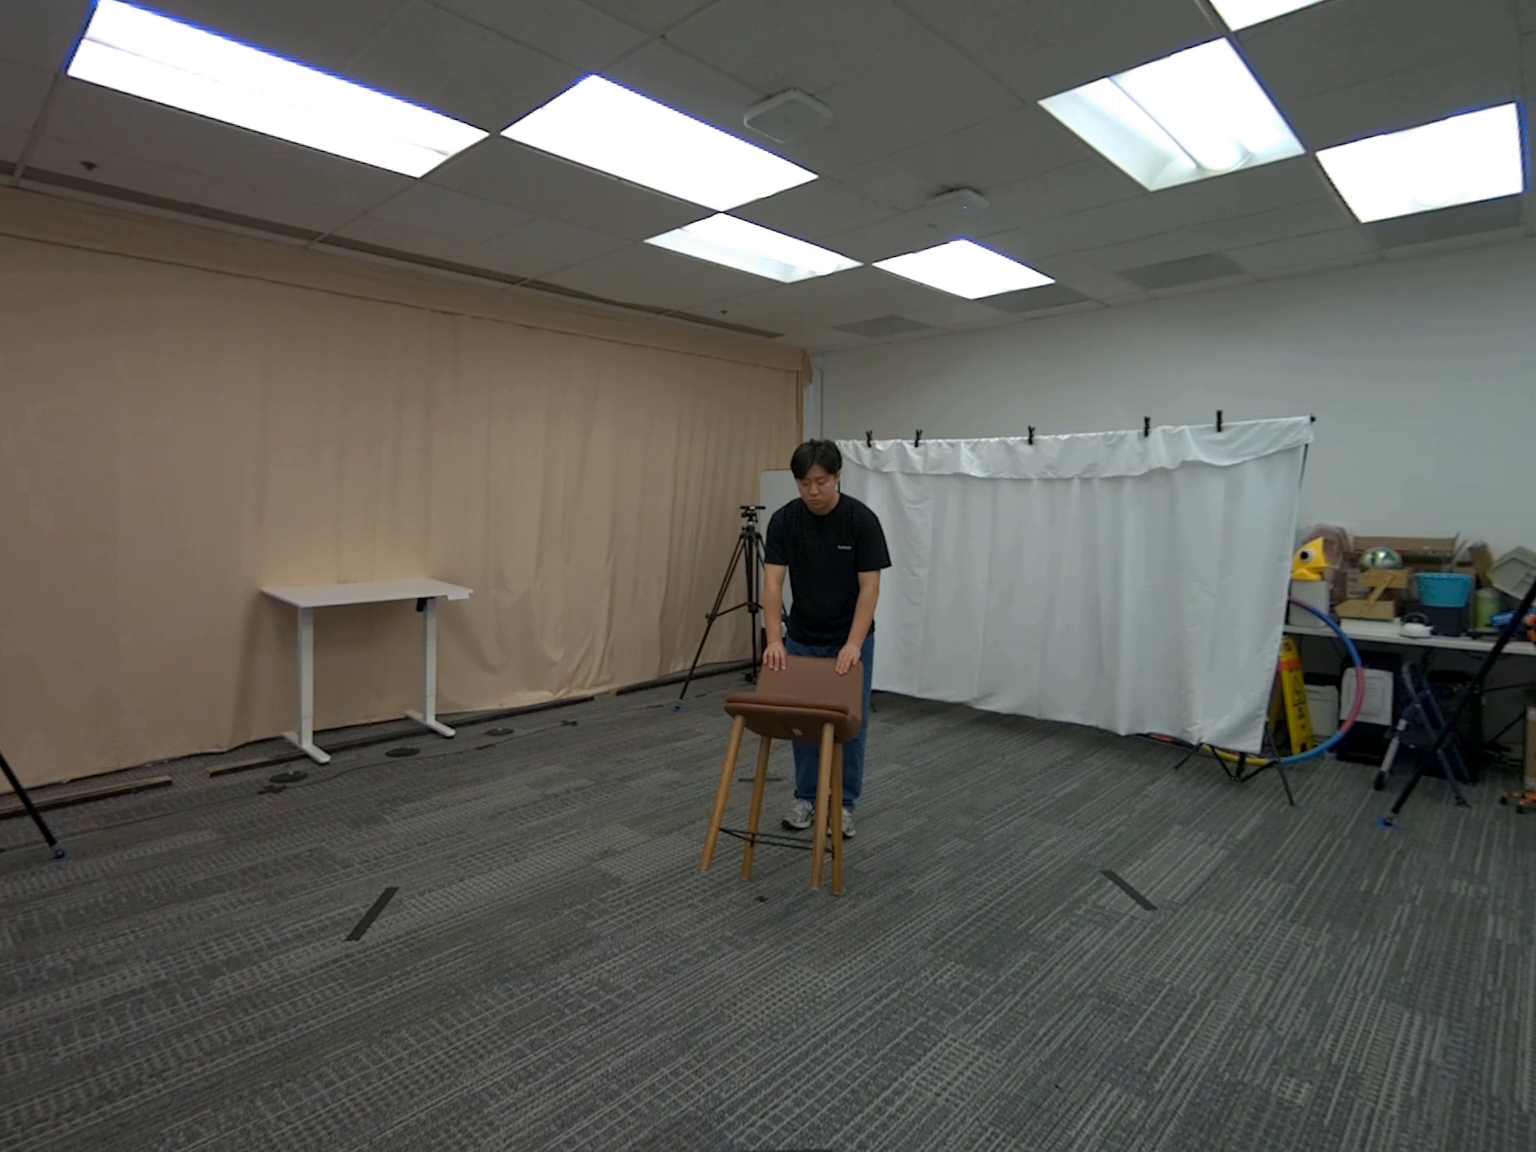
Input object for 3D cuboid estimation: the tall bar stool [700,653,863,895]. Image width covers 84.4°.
[{"bbox_3d":[0.086,0.656,3.053,0.466,0.898,0.453,0,-24,20],"label":"tall bar stool"}]
